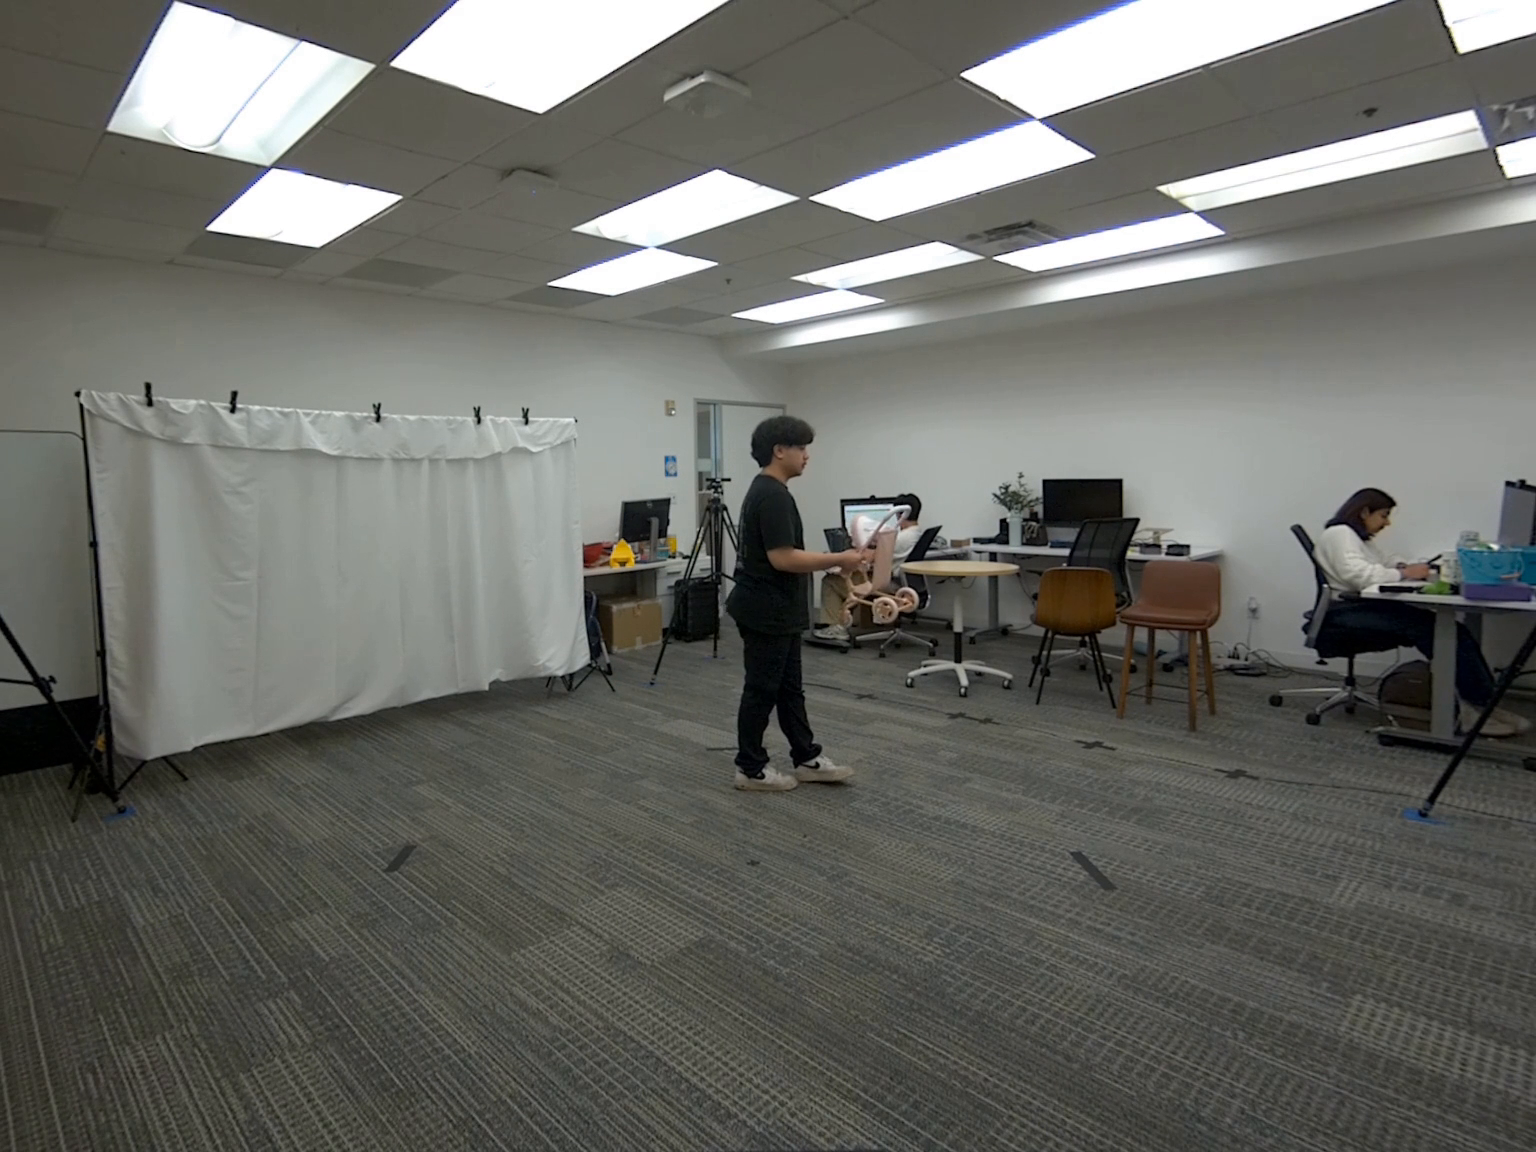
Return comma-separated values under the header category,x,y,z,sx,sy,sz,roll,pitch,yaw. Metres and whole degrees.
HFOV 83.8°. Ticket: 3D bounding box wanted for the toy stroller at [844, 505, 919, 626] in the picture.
category,x,y,z,sx,sy,sz,roll,pitch,yaw
toy stroller,0.443,-0.035,3.689,0.351,0.531,0.275,2,9,37
